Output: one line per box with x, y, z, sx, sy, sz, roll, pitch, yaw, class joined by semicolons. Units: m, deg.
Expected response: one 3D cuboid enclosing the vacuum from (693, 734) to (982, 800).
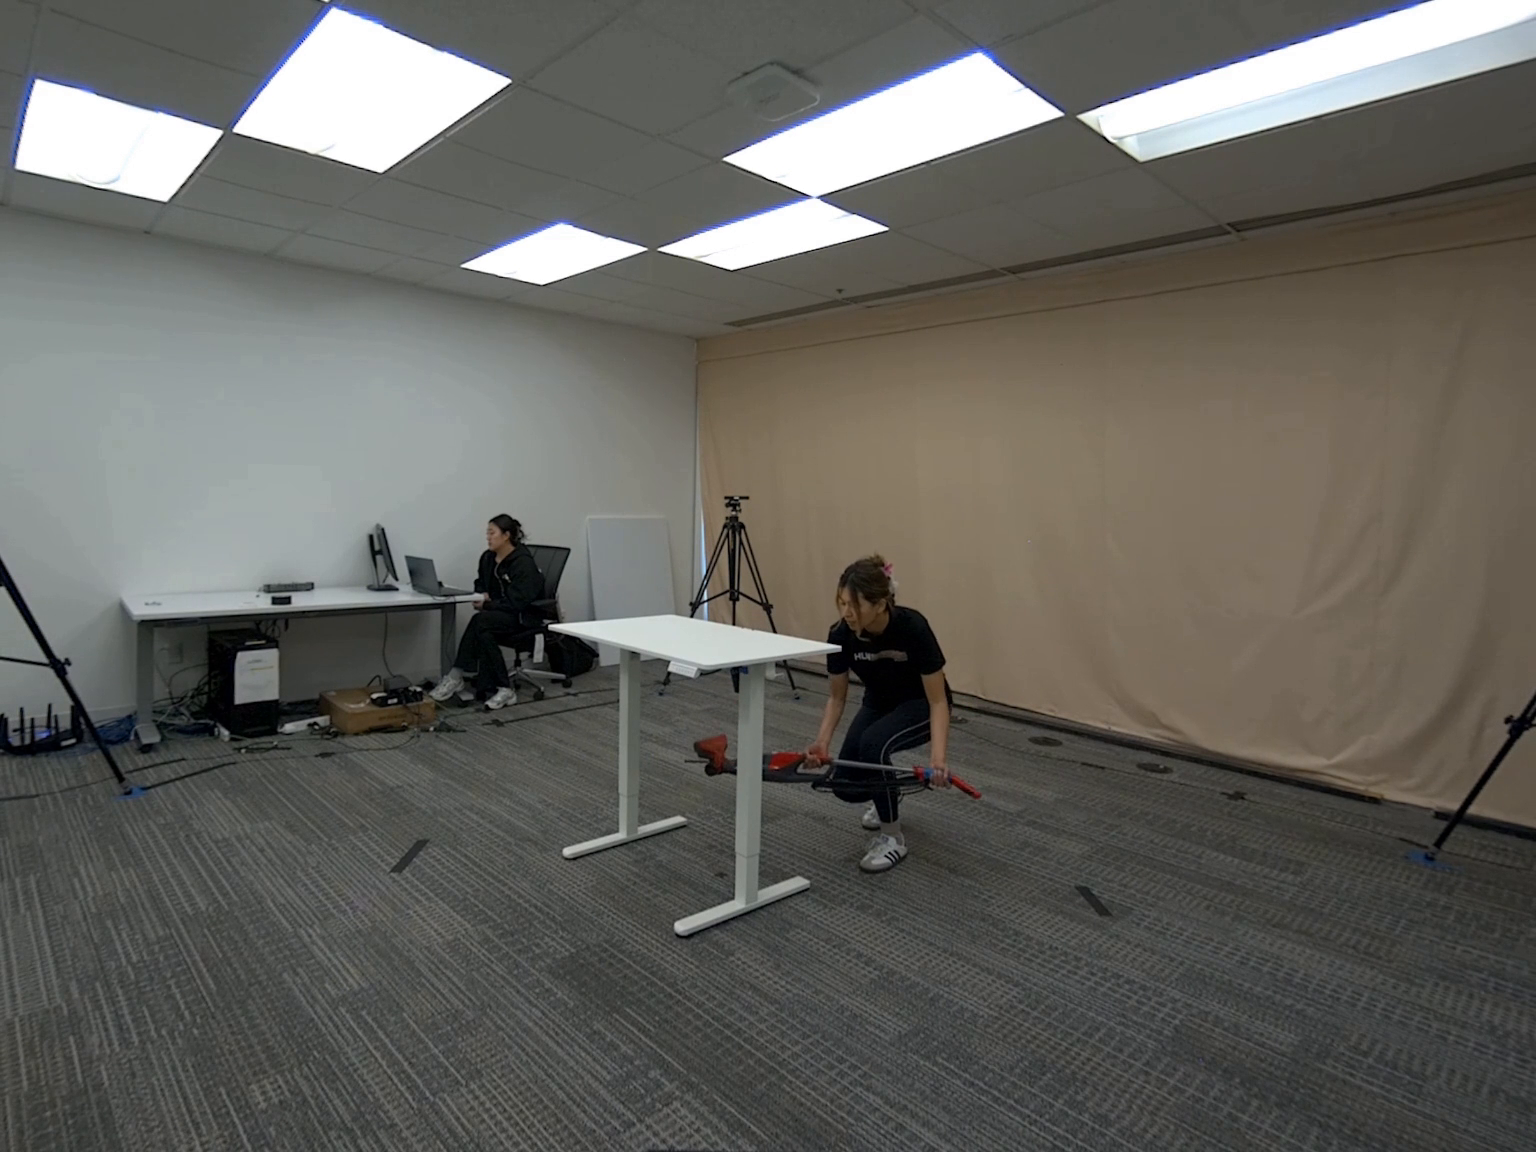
0.241;0.736;3.129;1.070;0.145;0.246;3;-8;26;vacuum
